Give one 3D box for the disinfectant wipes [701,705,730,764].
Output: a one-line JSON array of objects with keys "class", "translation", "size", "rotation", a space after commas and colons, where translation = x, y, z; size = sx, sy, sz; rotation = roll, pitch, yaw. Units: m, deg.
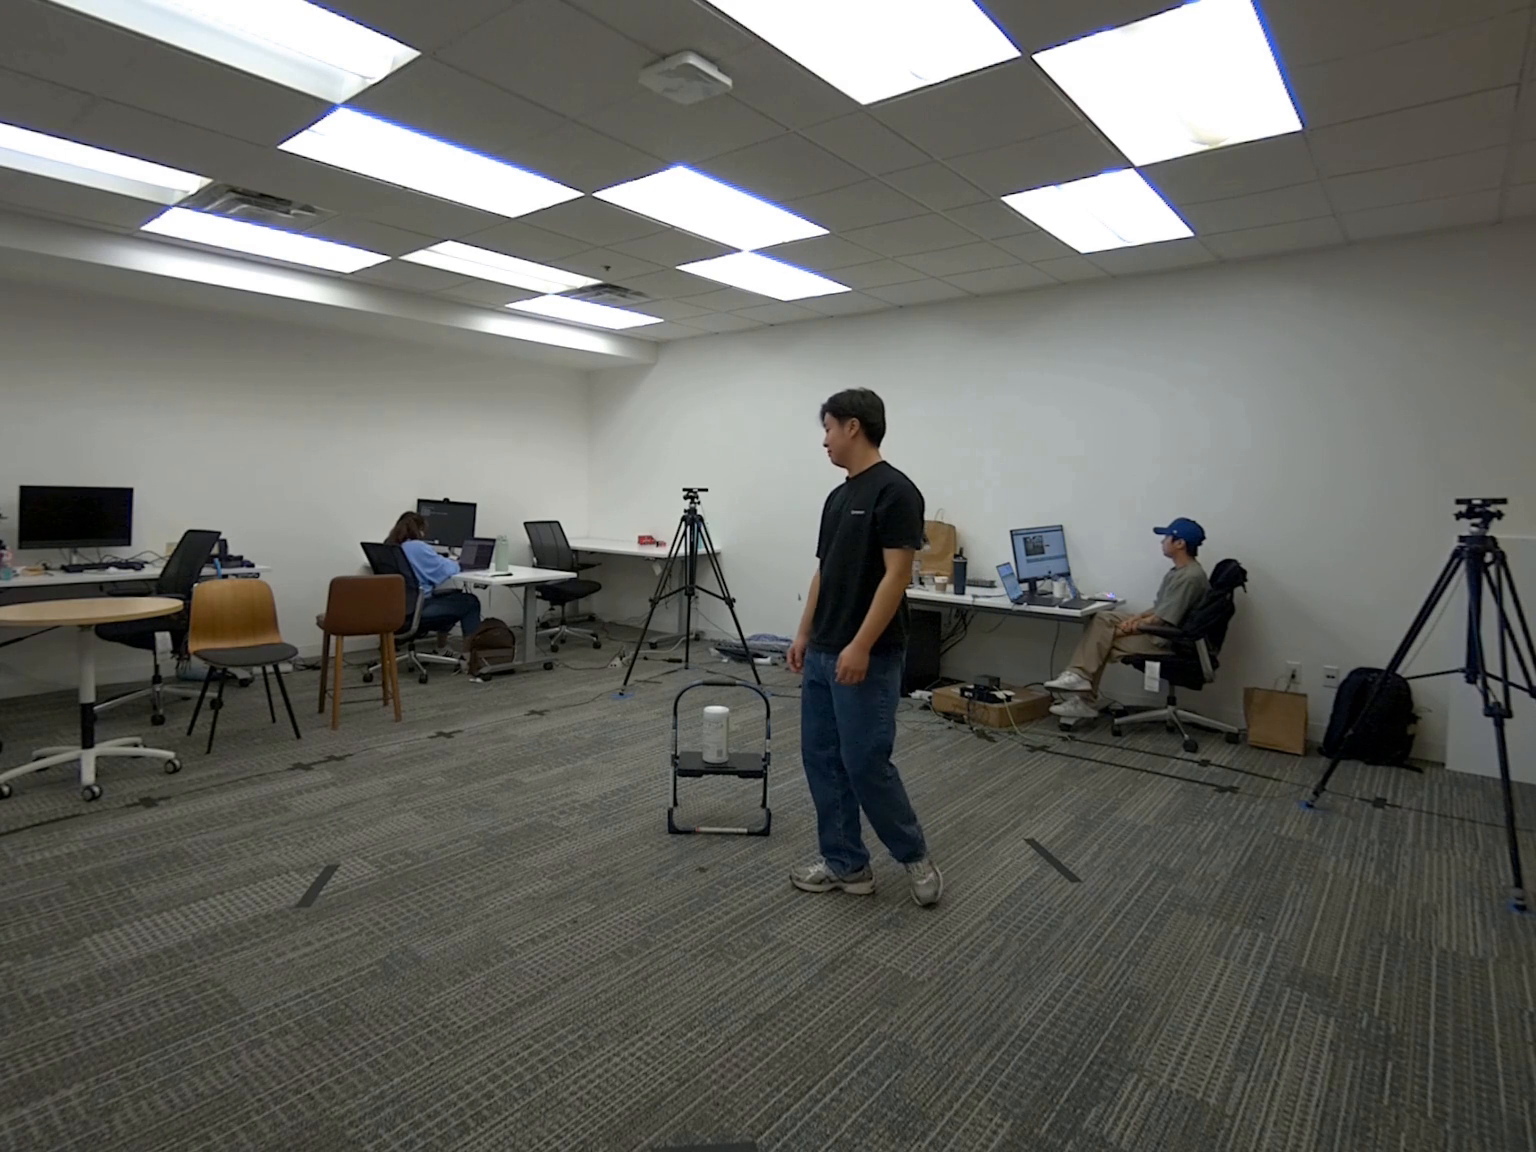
[{"class": "disinfectant wipes", "translation": [-0.229, 0.660, 3.547], "size": [0.117, 0.217, 0.118], "rotation": [4, 1, -2]}]
